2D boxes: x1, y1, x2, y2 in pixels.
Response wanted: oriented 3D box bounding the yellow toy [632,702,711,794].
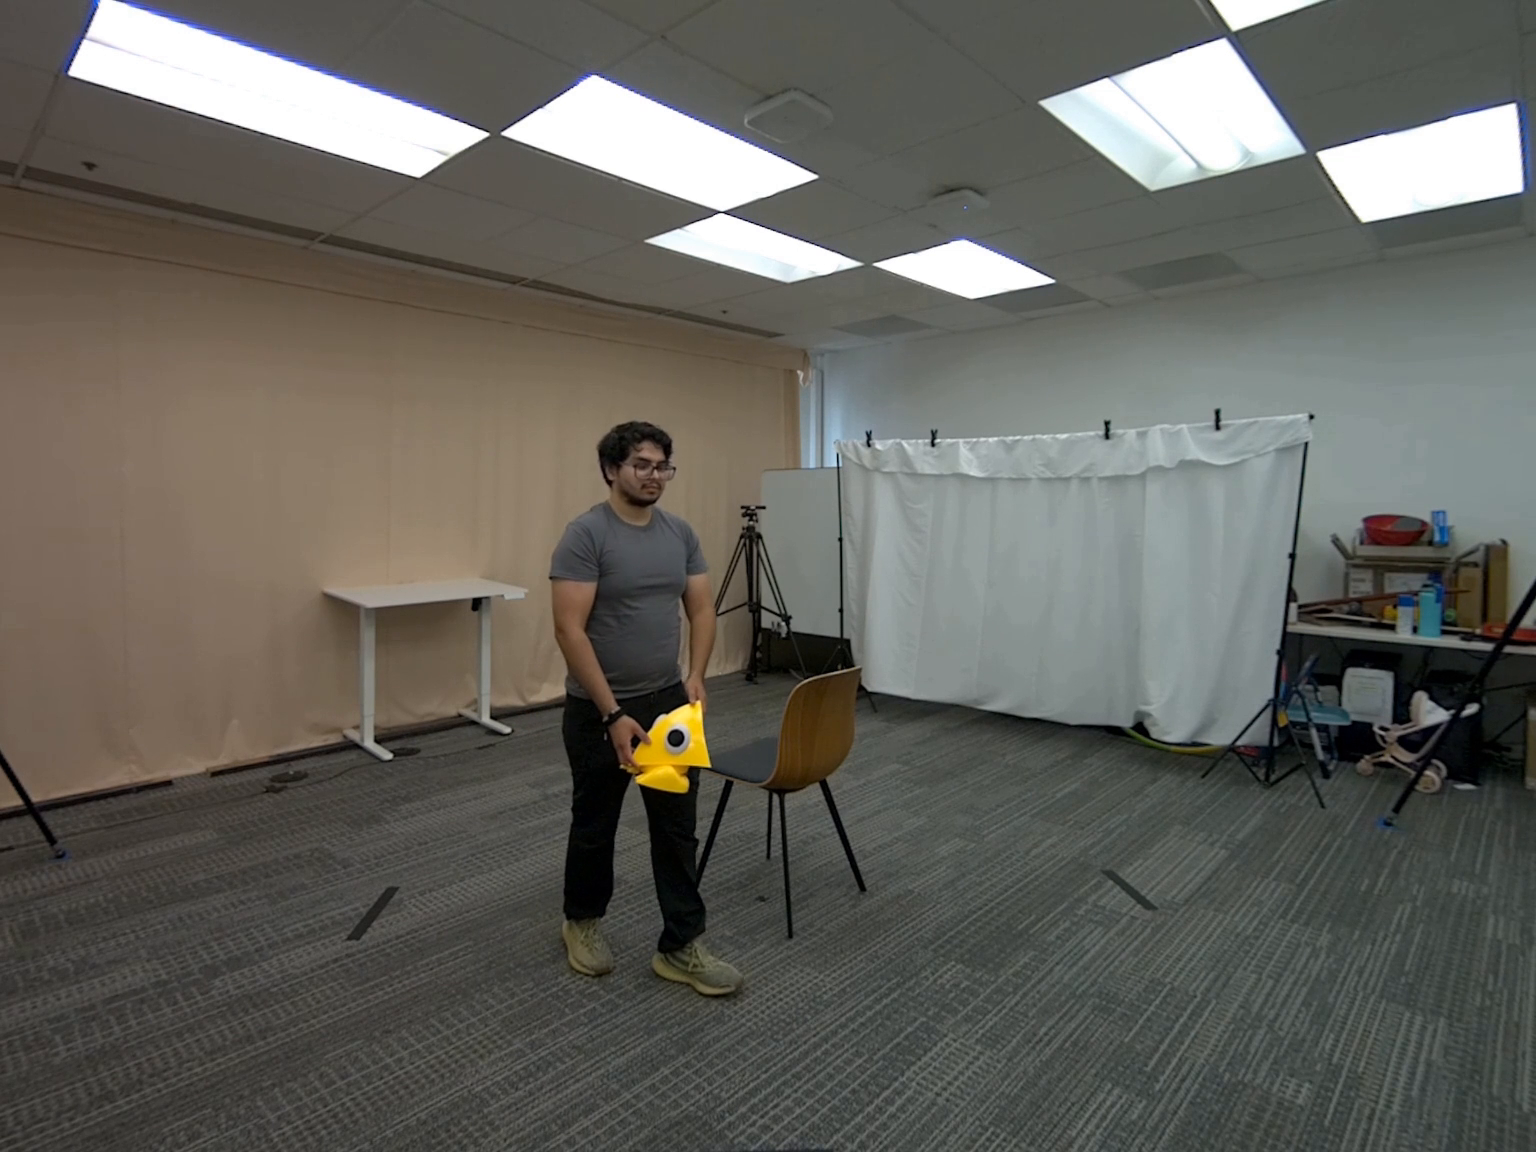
[{"bbox_3d":[-0.265,0.436,2.282,0.187,0.231,0.211,17,-2,-29],"label":"yellow toy"}]
